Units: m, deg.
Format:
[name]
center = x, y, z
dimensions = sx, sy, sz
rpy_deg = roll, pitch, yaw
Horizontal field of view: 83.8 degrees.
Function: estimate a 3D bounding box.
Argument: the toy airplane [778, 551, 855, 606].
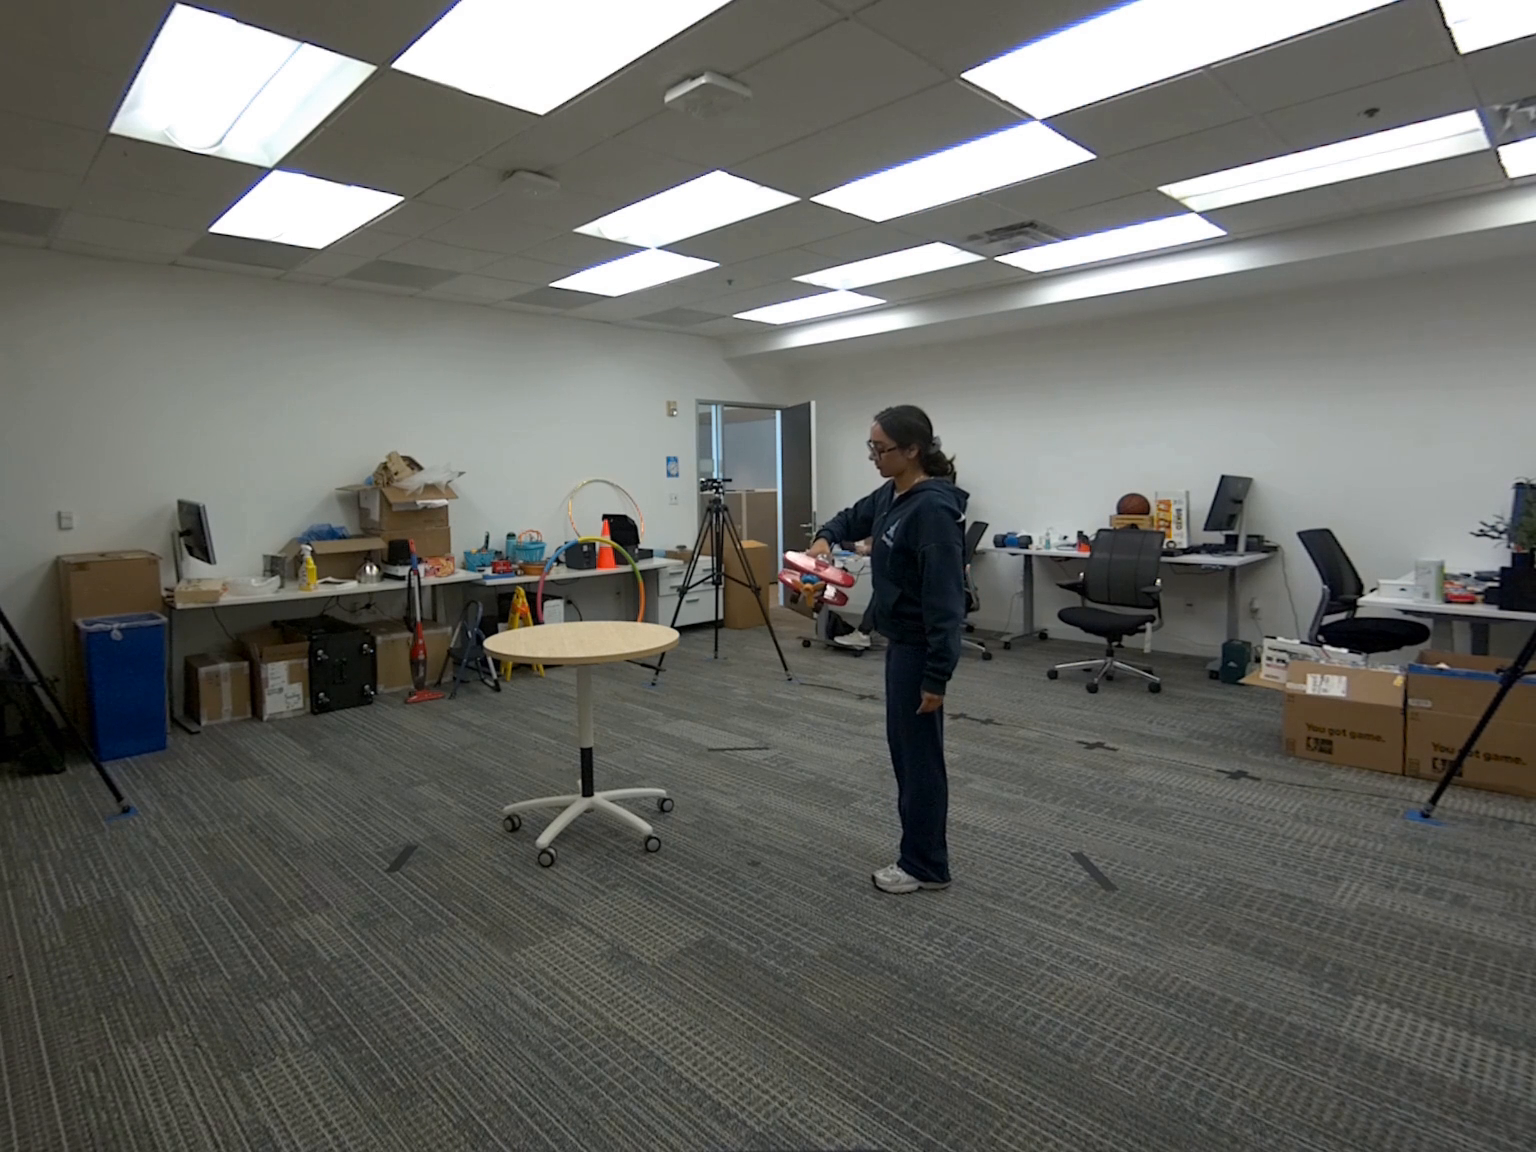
[toy airplane]
center = 0.162, -0.010, 2.972
dimensions = 0.249, 0.153, 0.267
rpy_deg = 2, 46, -7
